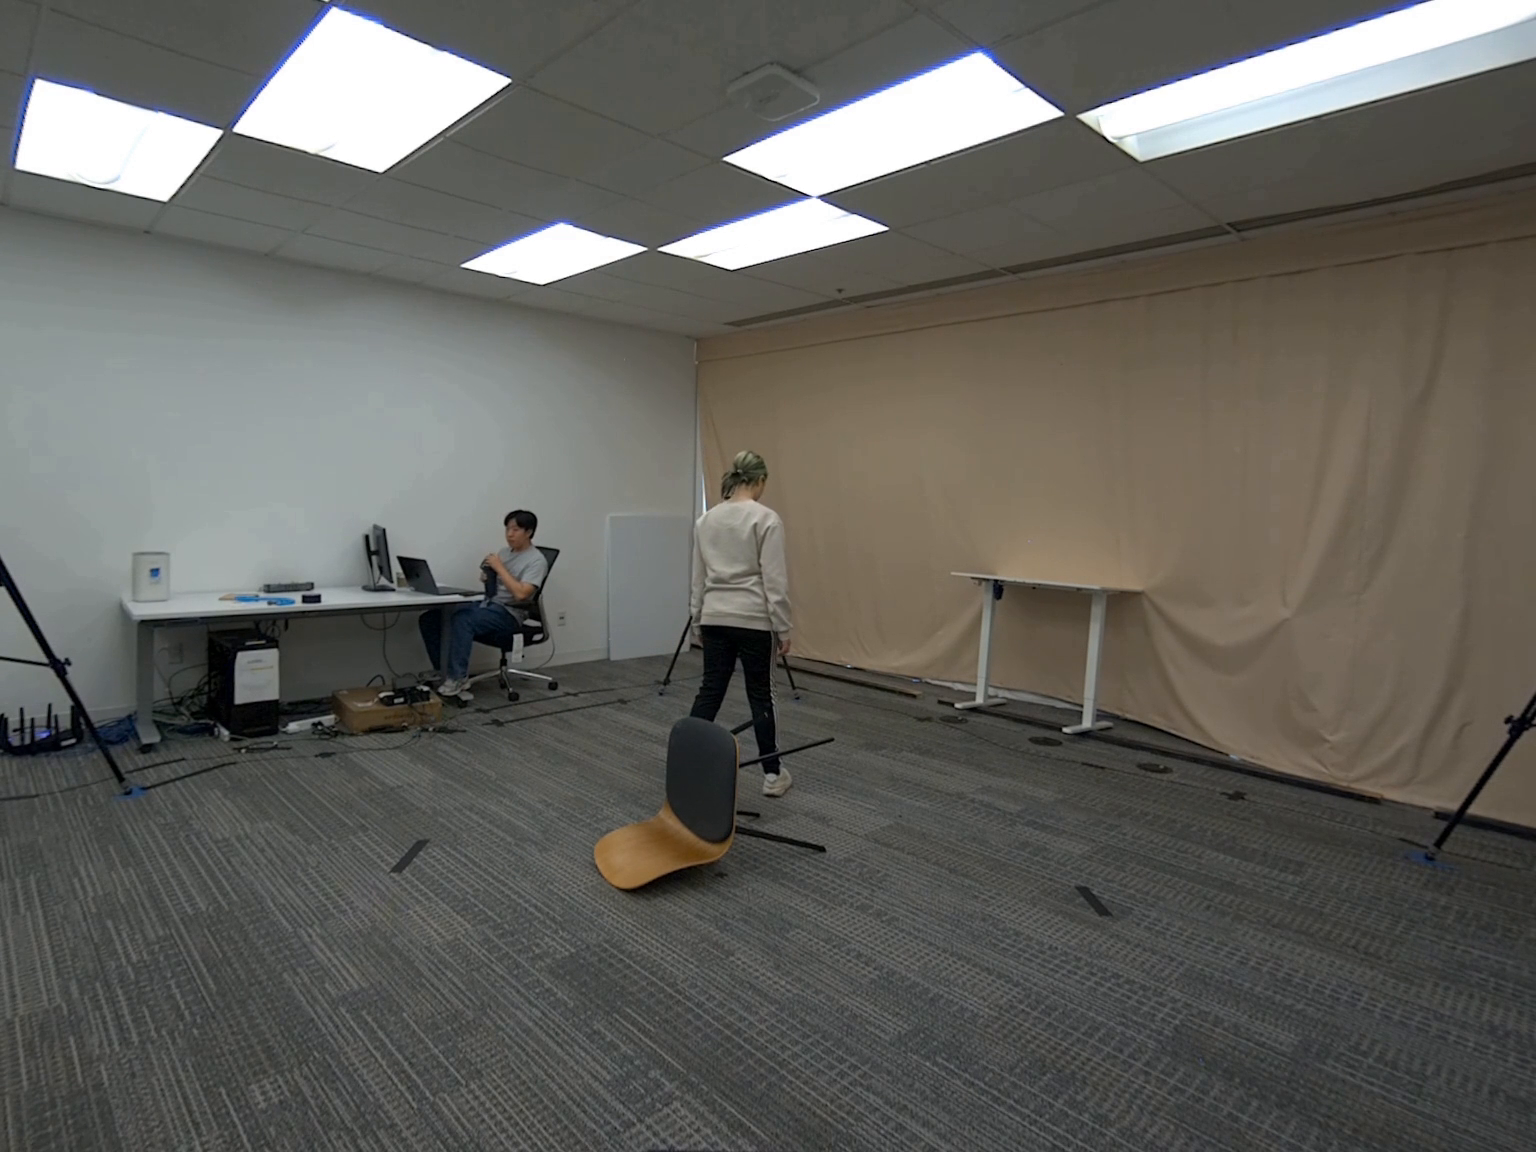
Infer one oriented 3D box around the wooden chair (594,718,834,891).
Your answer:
[{"bbox_3d":[-0.235,0.830,3.265,0.858,0.522,0.490,-3,5,-36],"label":"wooden chair"}]
